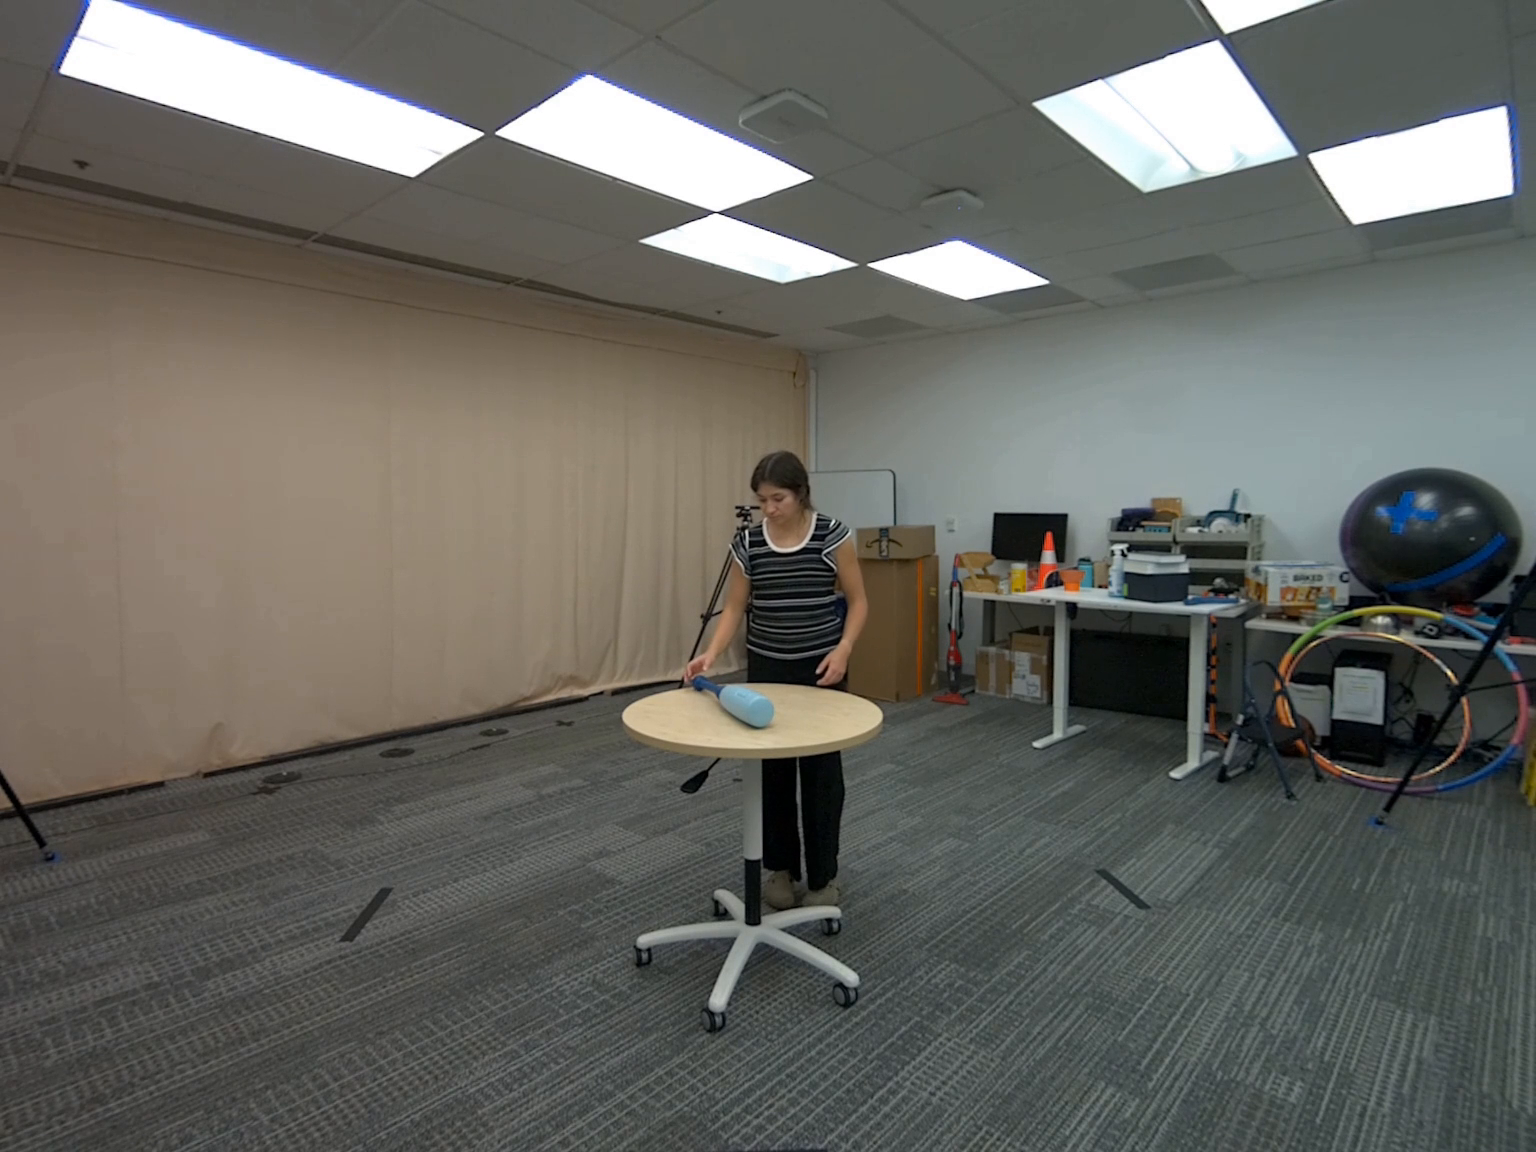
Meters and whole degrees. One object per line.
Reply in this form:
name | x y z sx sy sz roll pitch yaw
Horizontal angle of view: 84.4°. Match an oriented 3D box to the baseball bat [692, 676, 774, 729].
baseball bat | -0.126 0.362 2.534 0.087 0.089 0.556 -2 3 -25
